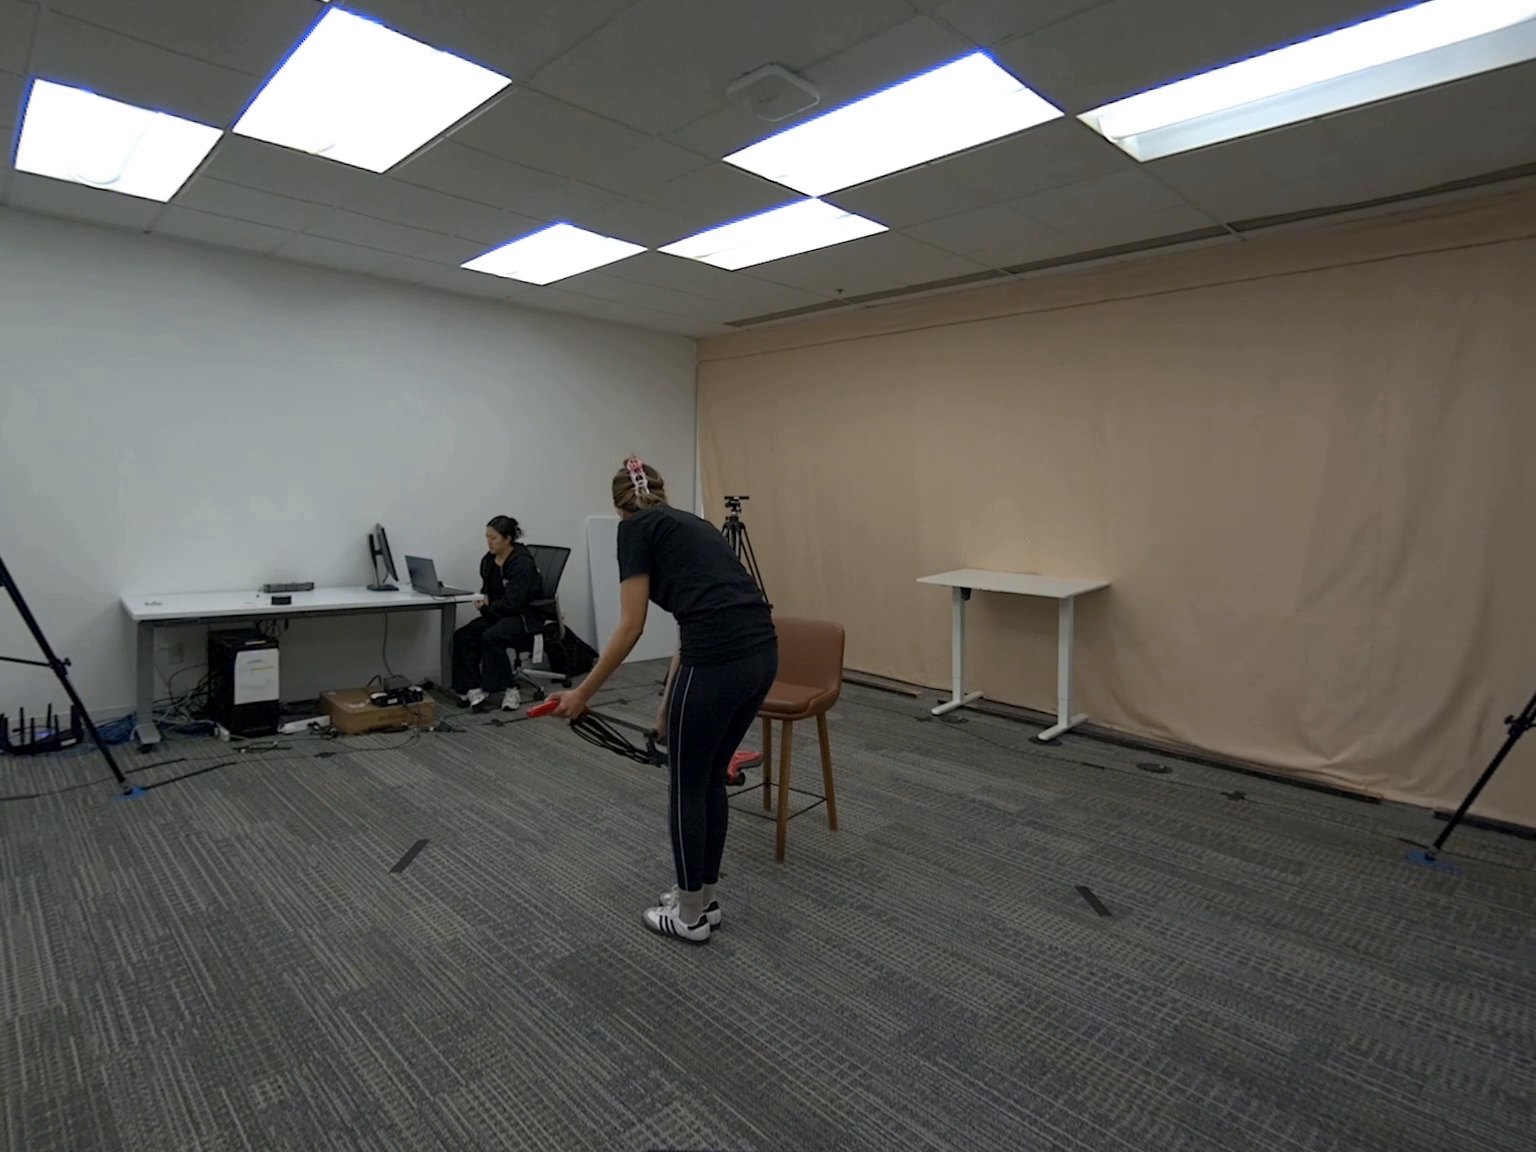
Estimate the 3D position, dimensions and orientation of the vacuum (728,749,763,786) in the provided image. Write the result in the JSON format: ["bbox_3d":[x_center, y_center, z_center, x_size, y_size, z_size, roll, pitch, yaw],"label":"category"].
[{"bbox_3d":[-0.423,0.574,2.830,0.258,0.145,1.016,0,-20,37],"label":"vacuum"}]
